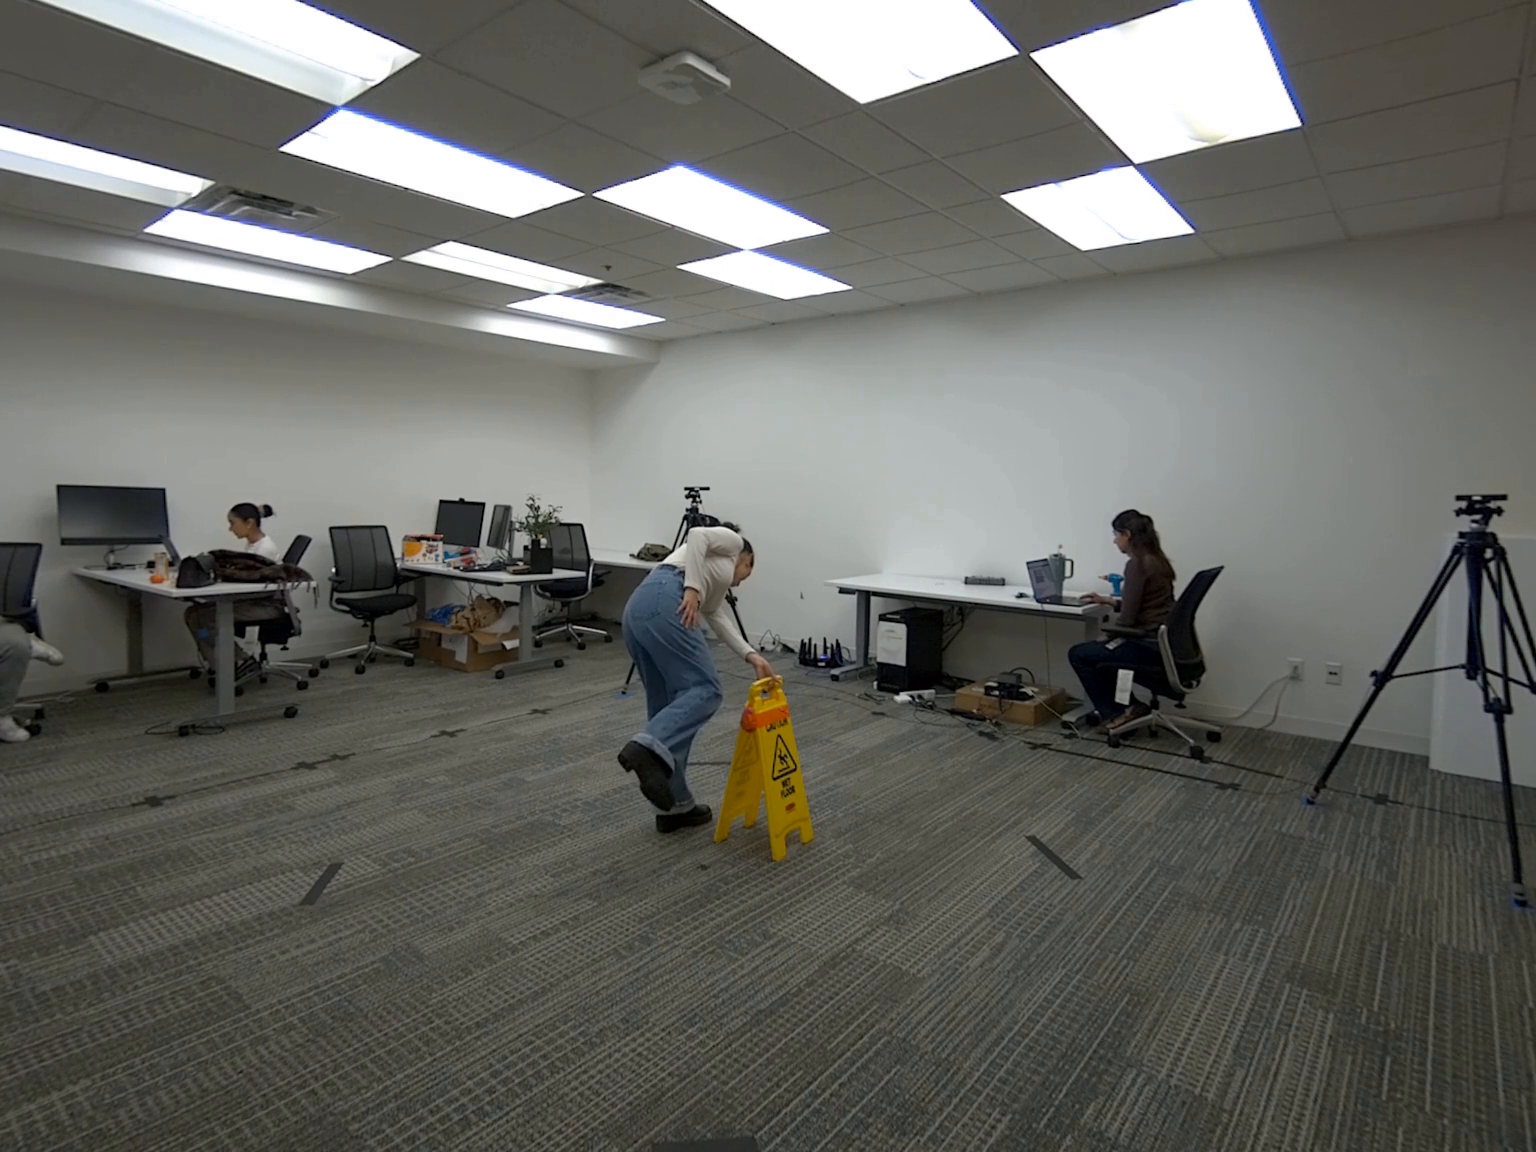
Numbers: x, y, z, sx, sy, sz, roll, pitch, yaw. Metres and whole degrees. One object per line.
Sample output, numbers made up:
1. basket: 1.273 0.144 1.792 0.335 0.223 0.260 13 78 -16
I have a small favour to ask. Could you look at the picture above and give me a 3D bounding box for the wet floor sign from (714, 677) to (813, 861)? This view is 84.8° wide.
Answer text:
1. wet floor sign: -0.013 0.722 3.347 0.299 0.644 0.274 4 4 36
